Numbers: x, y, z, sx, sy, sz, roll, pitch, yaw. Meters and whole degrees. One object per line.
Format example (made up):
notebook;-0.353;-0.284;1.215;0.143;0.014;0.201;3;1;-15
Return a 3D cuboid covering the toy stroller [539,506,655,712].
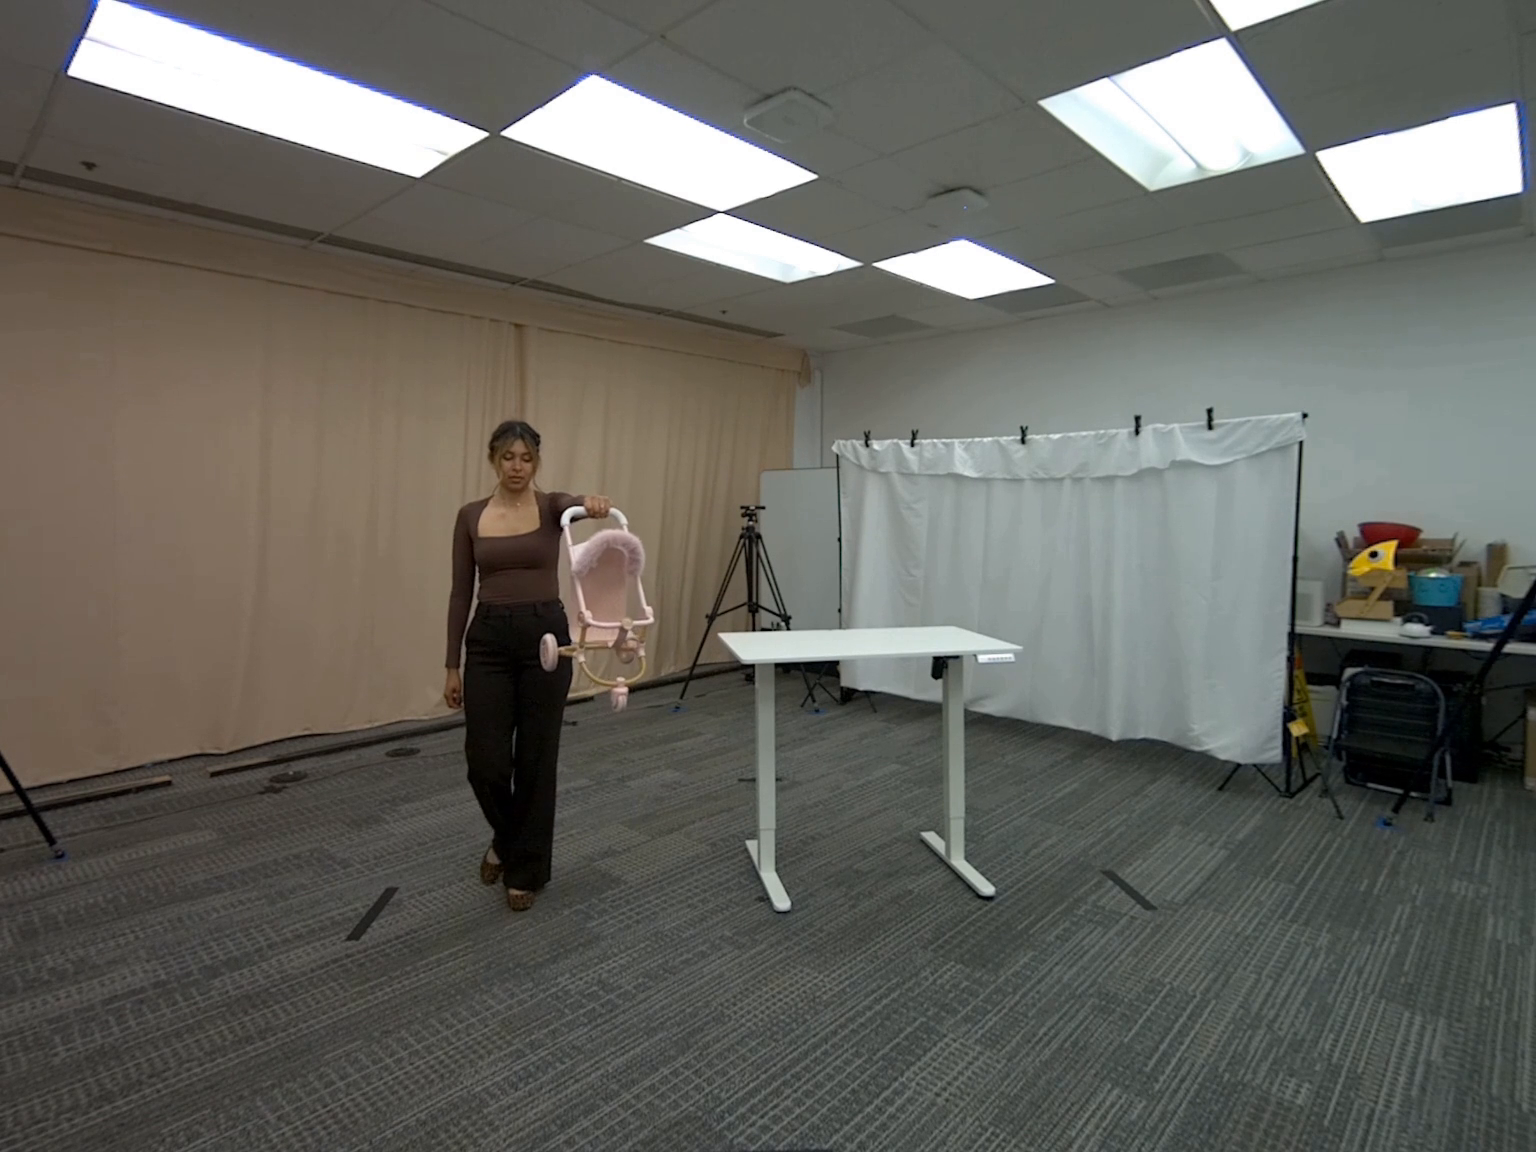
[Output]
toy stroller;-0.472;0.097;2.421;0.274;0.532;0.352;1;12;-30
